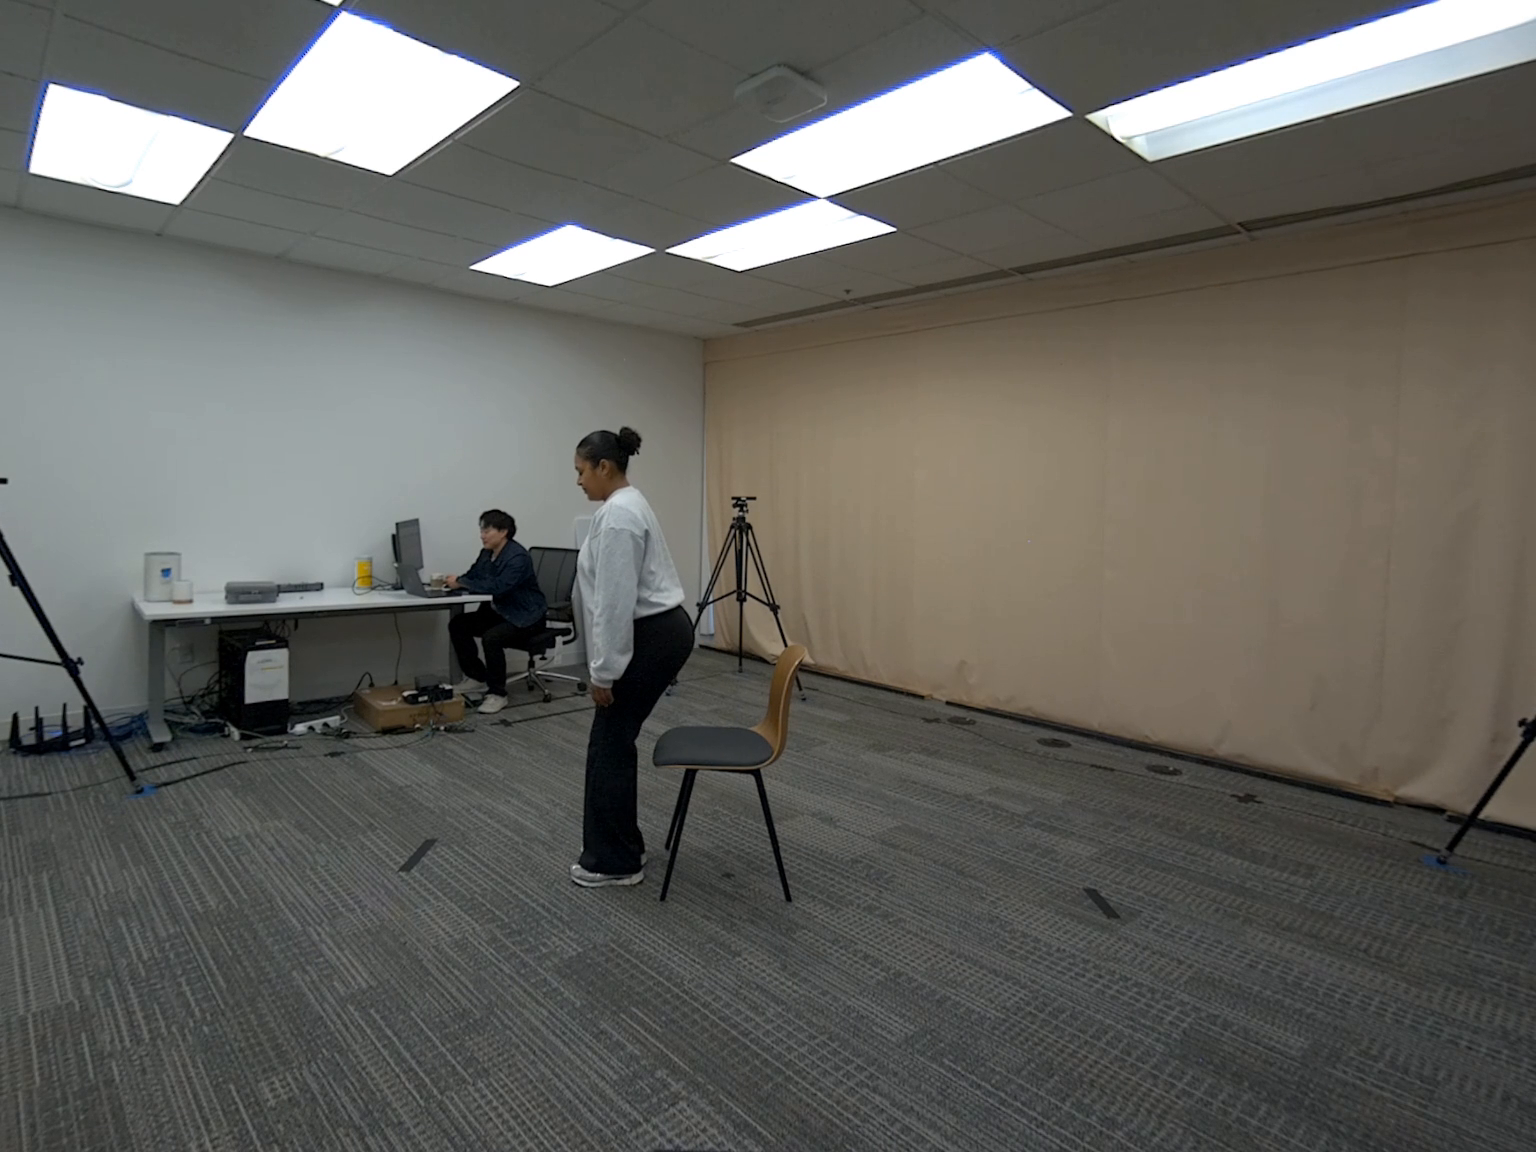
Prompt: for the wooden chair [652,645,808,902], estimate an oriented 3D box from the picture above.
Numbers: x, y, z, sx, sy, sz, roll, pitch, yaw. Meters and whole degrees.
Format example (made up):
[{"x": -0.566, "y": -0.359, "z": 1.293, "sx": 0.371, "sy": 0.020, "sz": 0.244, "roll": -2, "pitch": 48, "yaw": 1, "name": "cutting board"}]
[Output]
[{"x": -0.163, "y": 0.675, "z": 3.089, "sx": 0.521, "sy": 0.875, "sz": 0.481, "roll": 5, "pitch": 4, "yaw": -4, "name": "wooden chair"}]
